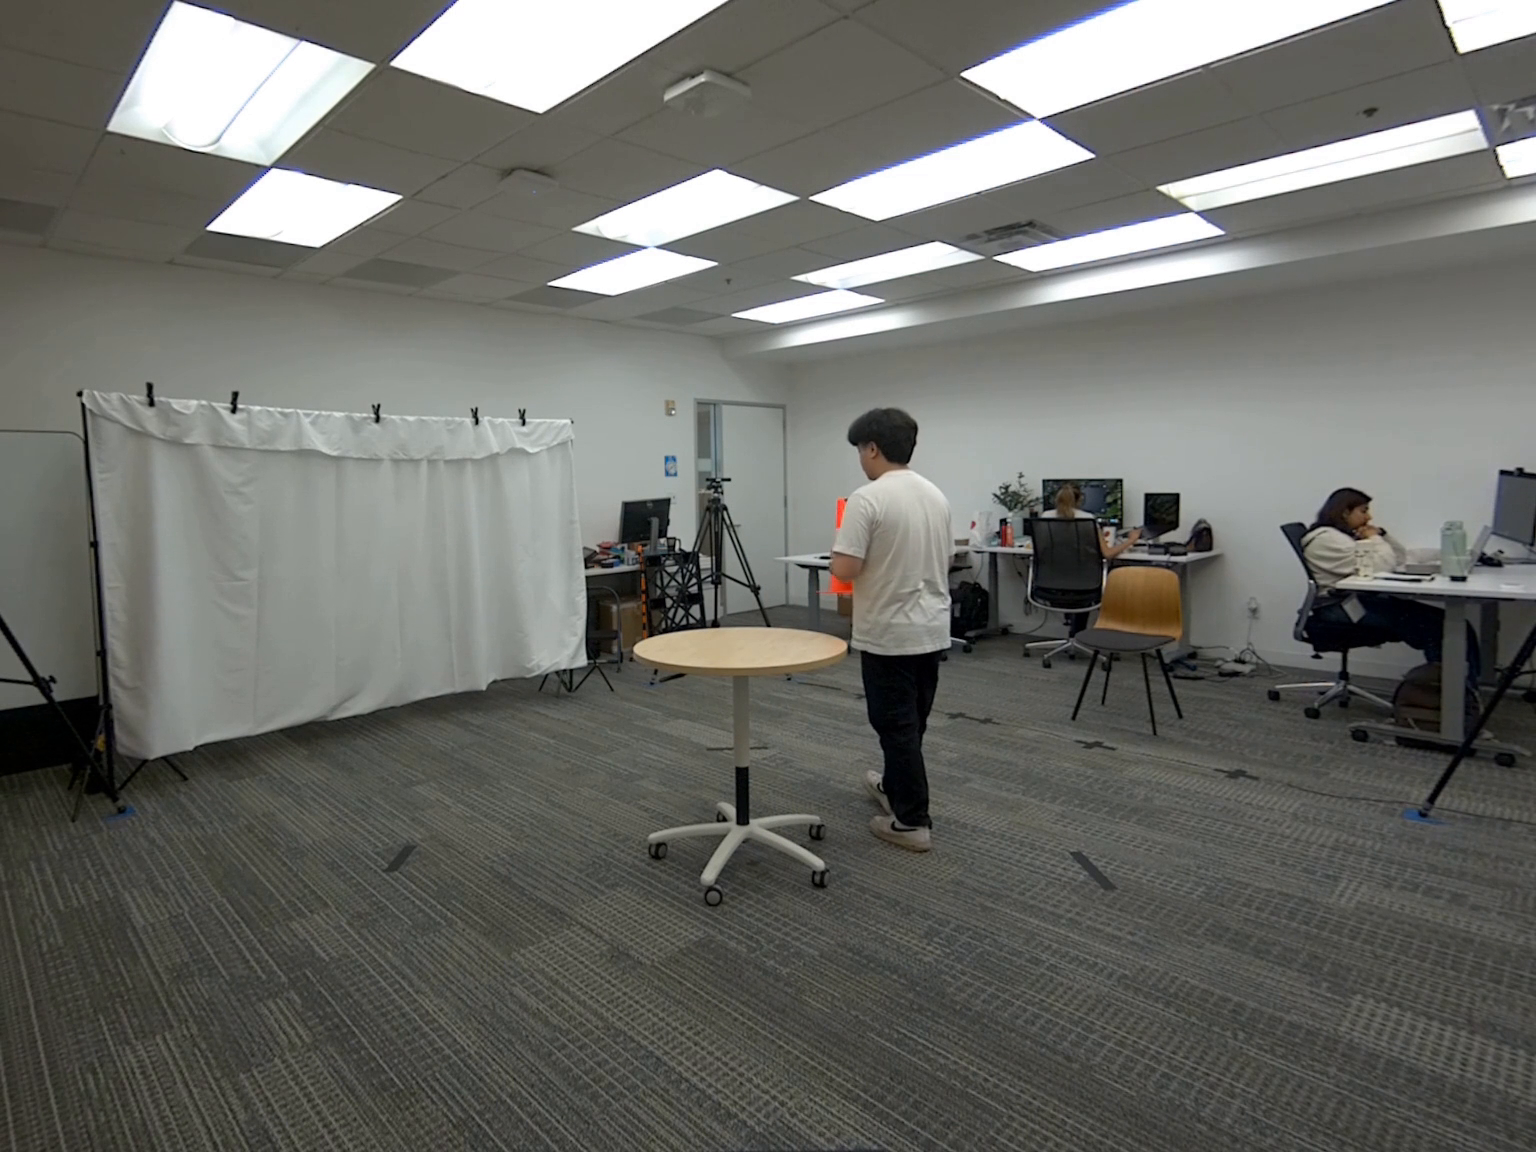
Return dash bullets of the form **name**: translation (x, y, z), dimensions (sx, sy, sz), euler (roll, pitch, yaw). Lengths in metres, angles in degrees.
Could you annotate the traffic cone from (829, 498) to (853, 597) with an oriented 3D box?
- **traffic cone**: translation (0.327, -0.130, 3.508), dimensions (0.209, 0.387, 0.197), euler (-12, -10, 43)
